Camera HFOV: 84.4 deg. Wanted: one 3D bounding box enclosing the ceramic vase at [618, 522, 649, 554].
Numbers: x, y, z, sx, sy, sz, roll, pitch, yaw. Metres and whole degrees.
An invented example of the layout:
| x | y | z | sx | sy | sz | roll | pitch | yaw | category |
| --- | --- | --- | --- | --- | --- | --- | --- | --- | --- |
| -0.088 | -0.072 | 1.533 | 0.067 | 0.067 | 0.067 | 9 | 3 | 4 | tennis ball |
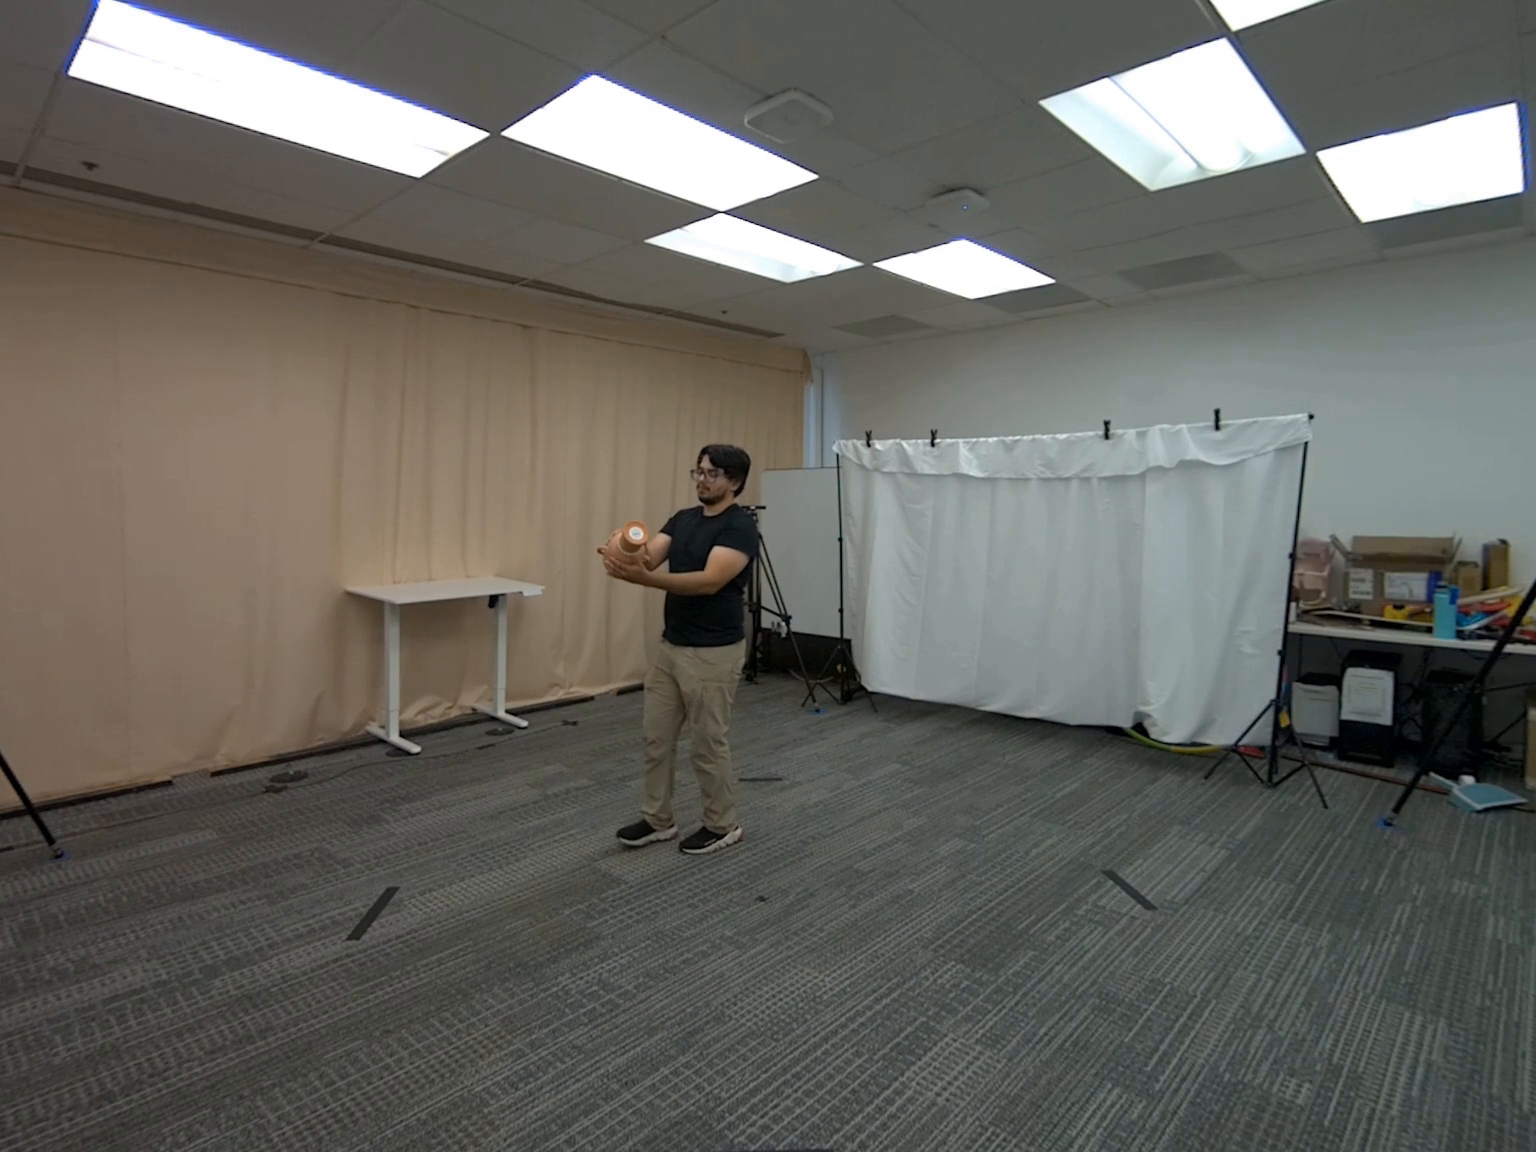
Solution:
| x | y | z | sx | sy | sz | roll | pitch | yaw | category |
| --- | --- | --- | --- | --- | --- | --- | --- | --- | --- |
| -0.500 | -0.100 | 3.025 | 0.156 | 0.136 | 0.221 | -30 | -11 | -36 | ceramic vase |
